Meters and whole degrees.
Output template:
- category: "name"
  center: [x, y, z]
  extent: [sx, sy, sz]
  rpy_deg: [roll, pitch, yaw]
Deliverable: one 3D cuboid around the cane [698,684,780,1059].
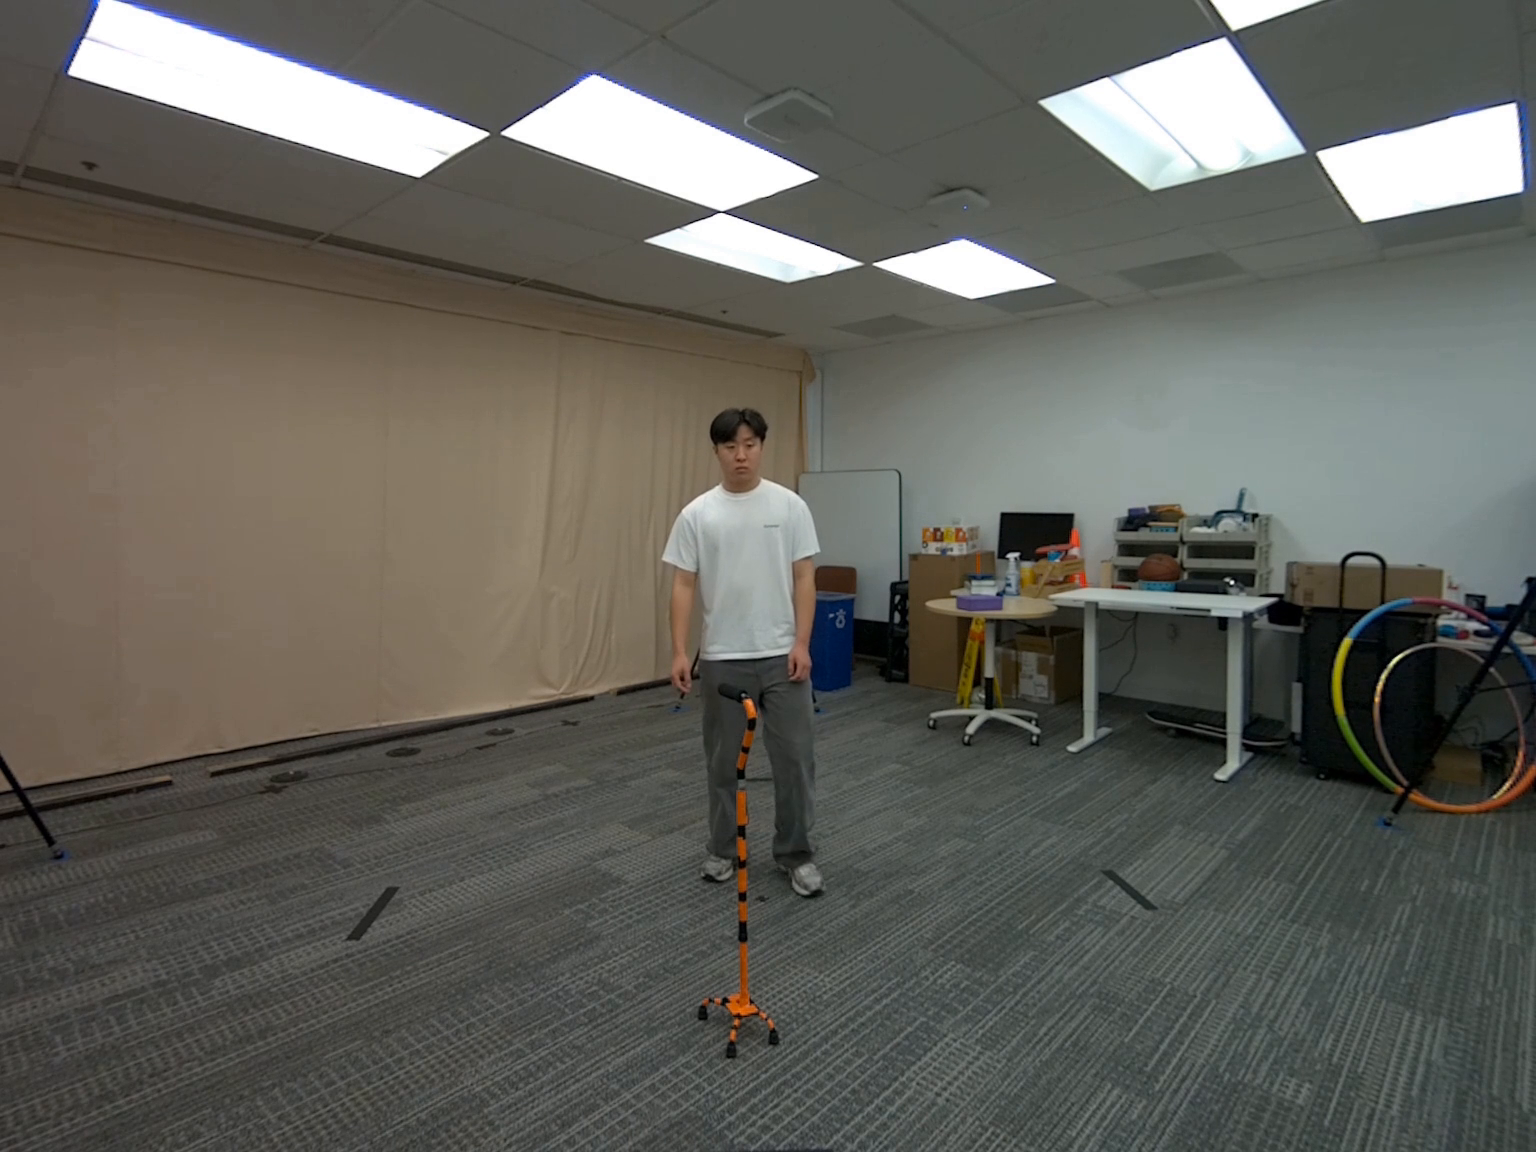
- category: "cane"
  center: [-0.075, 0.752, 2.218]
  extent: [0.148, 0.906, 0.212]
  rpy_deg: [-2, 4, -29]
